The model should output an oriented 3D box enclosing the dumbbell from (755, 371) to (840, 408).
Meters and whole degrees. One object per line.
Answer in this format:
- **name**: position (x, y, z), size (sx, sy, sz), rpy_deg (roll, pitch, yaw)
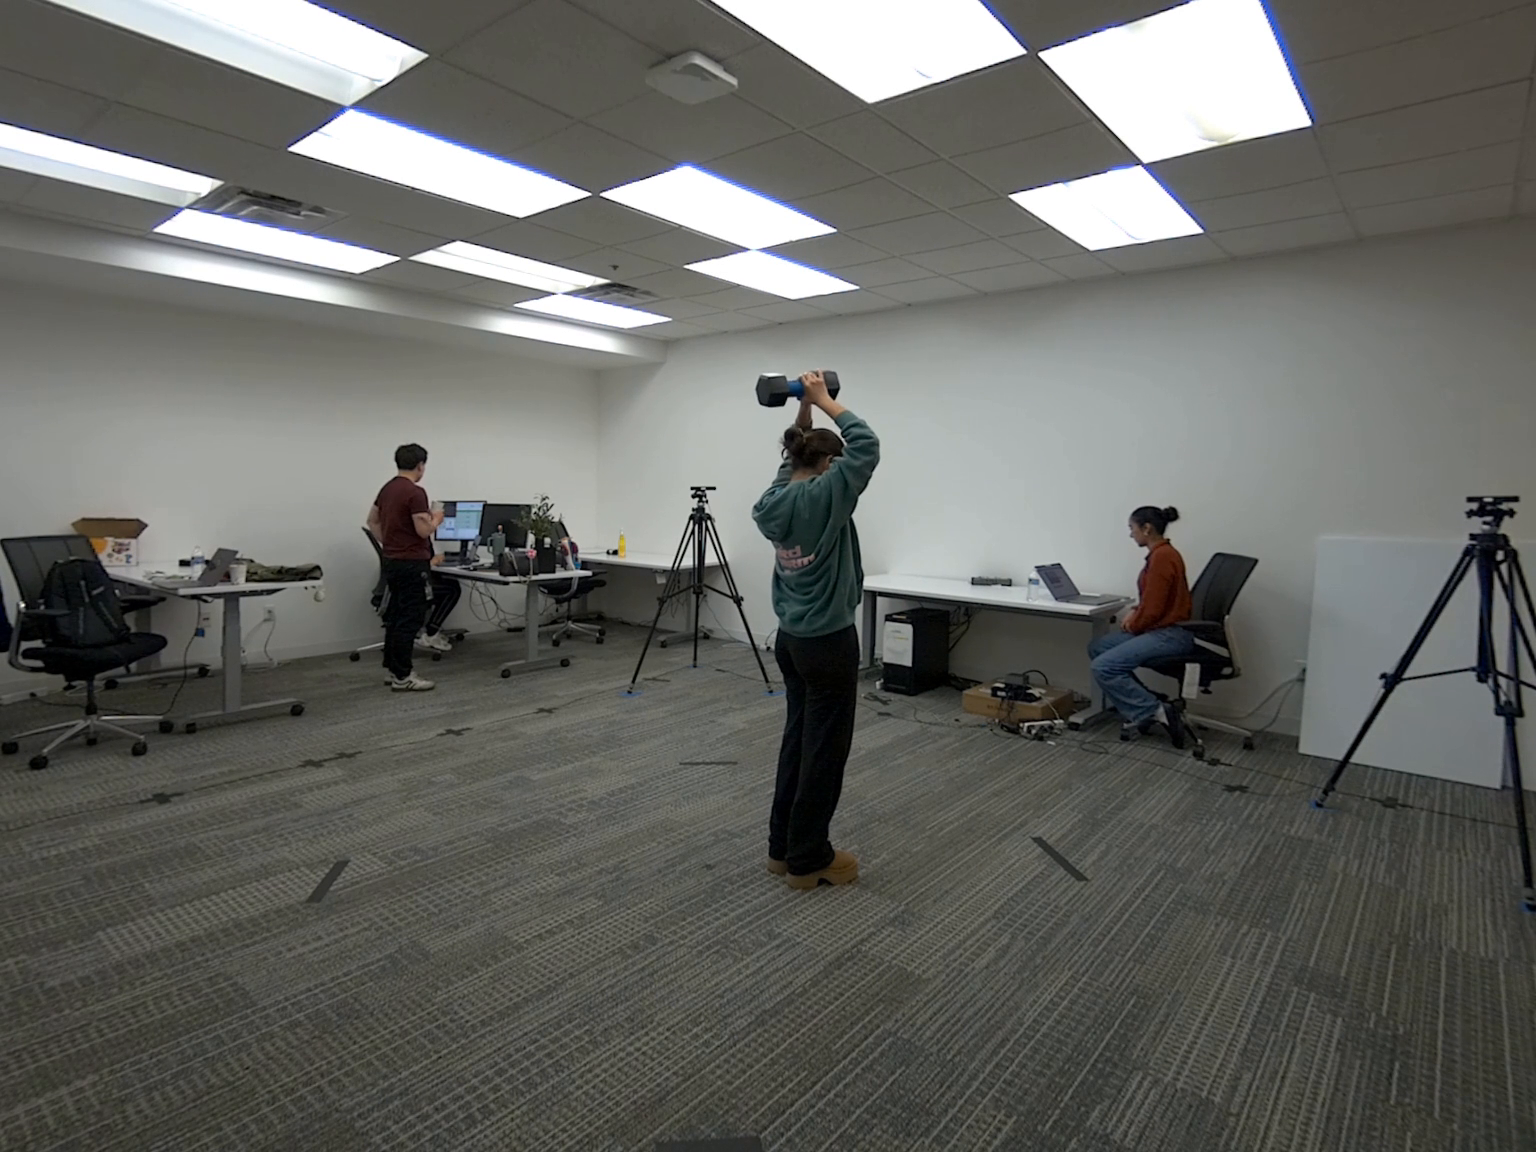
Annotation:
- **dumbbell**: position (0.104, -0.654, 2.966), size (0.288, 0.124, 0.110), rpy_deg (-11, -7, -23)
